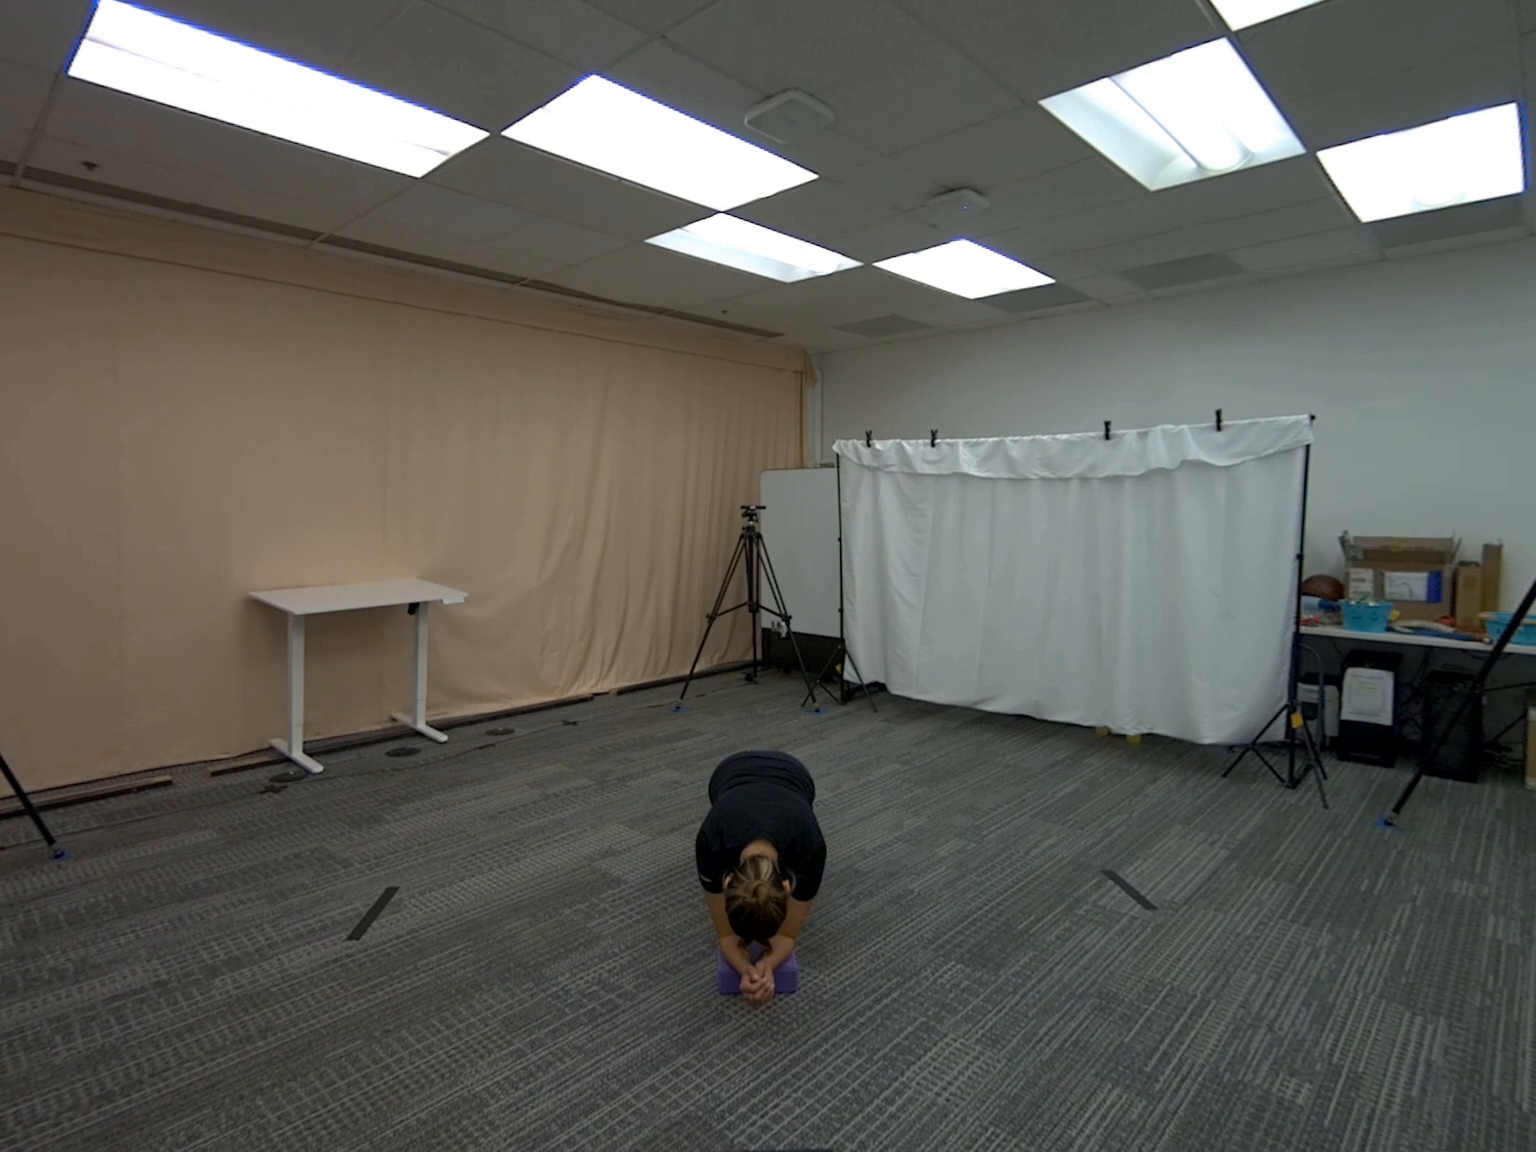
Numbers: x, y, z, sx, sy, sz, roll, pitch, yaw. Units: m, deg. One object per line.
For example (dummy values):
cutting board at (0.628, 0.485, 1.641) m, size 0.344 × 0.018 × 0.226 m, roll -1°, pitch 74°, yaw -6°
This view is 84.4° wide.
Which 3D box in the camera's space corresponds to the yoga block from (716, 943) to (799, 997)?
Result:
yoga block at (-0.033, 1.144, 2.470) m, size 0.229 × 0.076 × 0.149 m, roll 0°, pitch 6°, yaw -1°
